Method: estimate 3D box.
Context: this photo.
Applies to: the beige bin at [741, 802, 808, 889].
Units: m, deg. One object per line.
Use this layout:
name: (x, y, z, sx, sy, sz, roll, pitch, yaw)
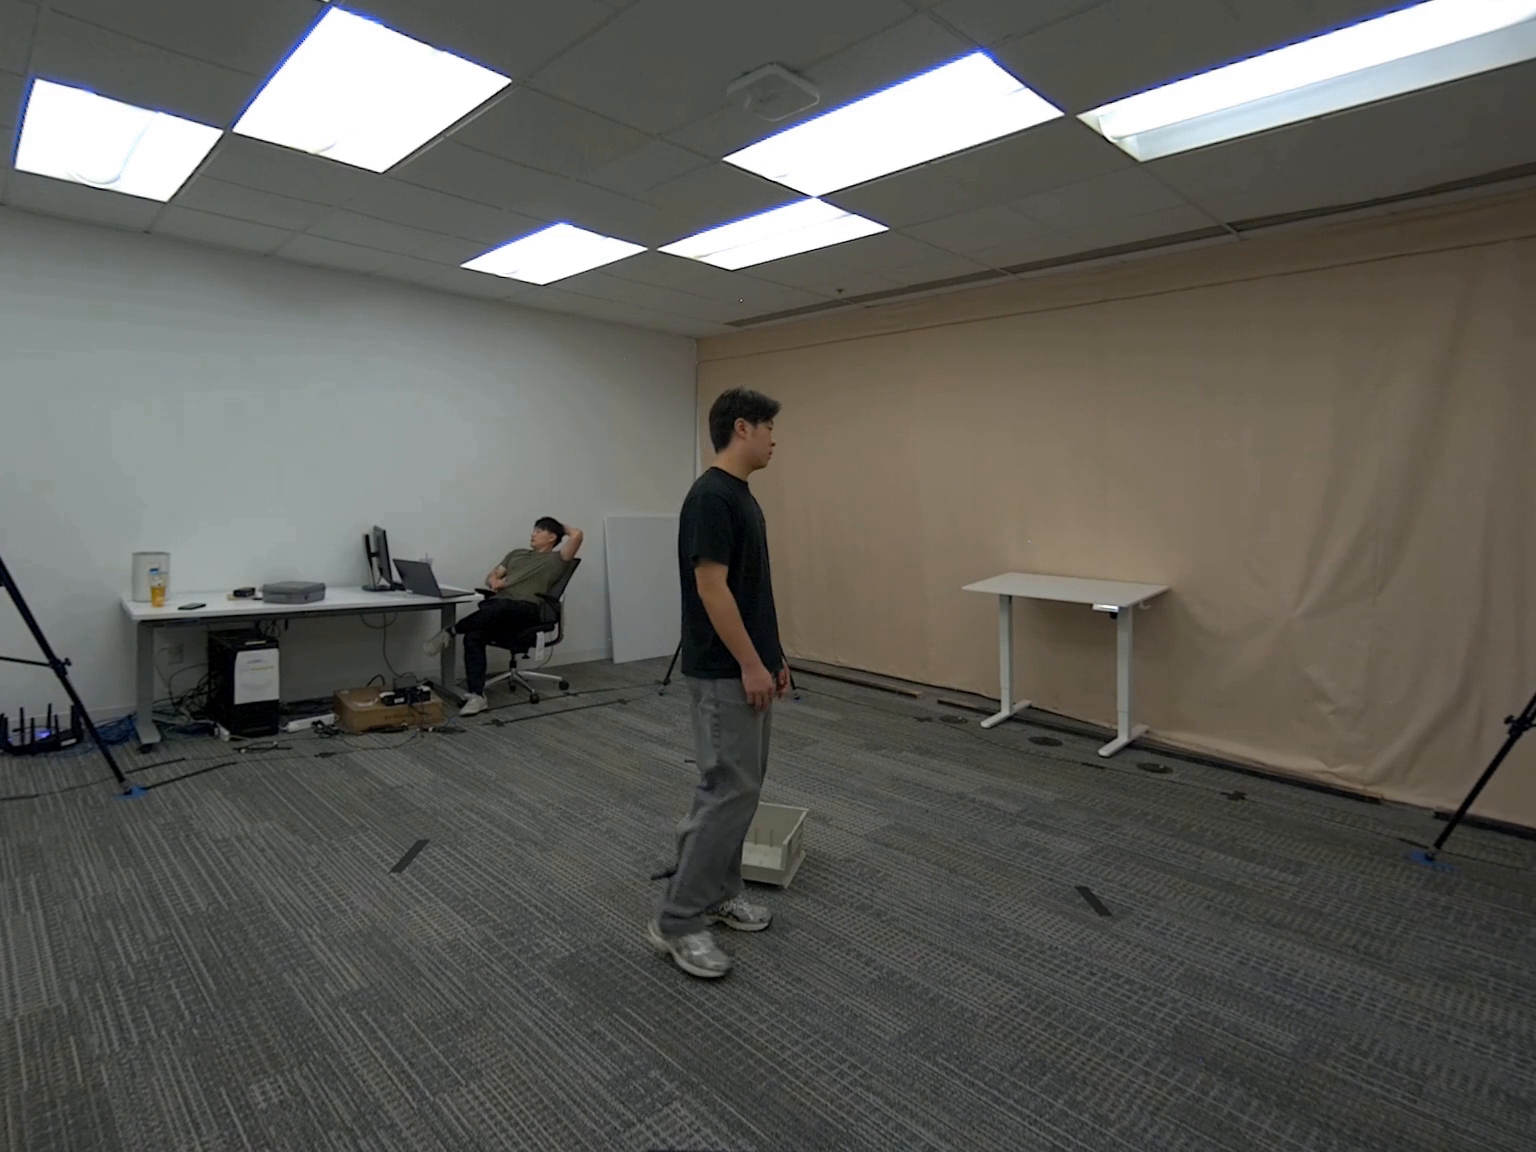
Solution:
beige bin: (-0.096, 1.011, 3.192, 0.428, 0.188, 0.373, 2, 4, 17)
